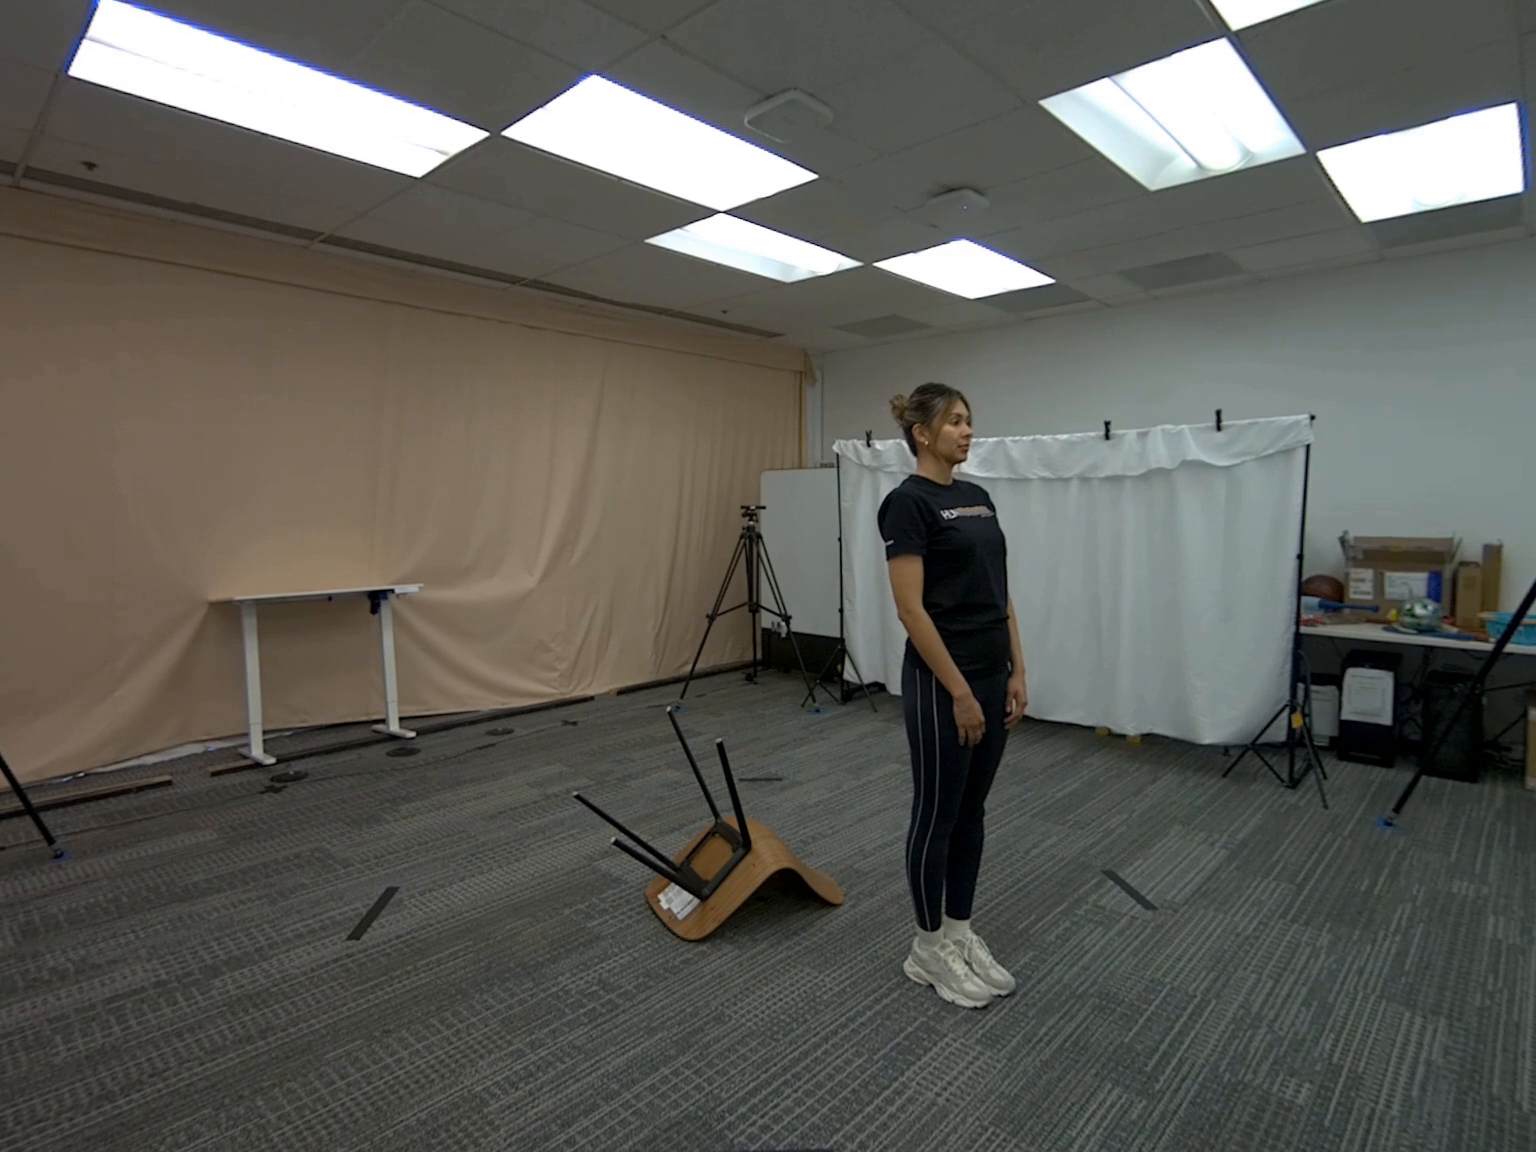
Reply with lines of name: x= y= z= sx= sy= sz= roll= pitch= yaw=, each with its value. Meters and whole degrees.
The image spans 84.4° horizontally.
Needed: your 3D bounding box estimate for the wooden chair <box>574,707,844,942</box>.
wooden chair: x=-0.196 y=0.978 z=2.918 sx=0.520 sy=0.859 sz=0.491 roll=-44 pitch=21 yaw=-17
